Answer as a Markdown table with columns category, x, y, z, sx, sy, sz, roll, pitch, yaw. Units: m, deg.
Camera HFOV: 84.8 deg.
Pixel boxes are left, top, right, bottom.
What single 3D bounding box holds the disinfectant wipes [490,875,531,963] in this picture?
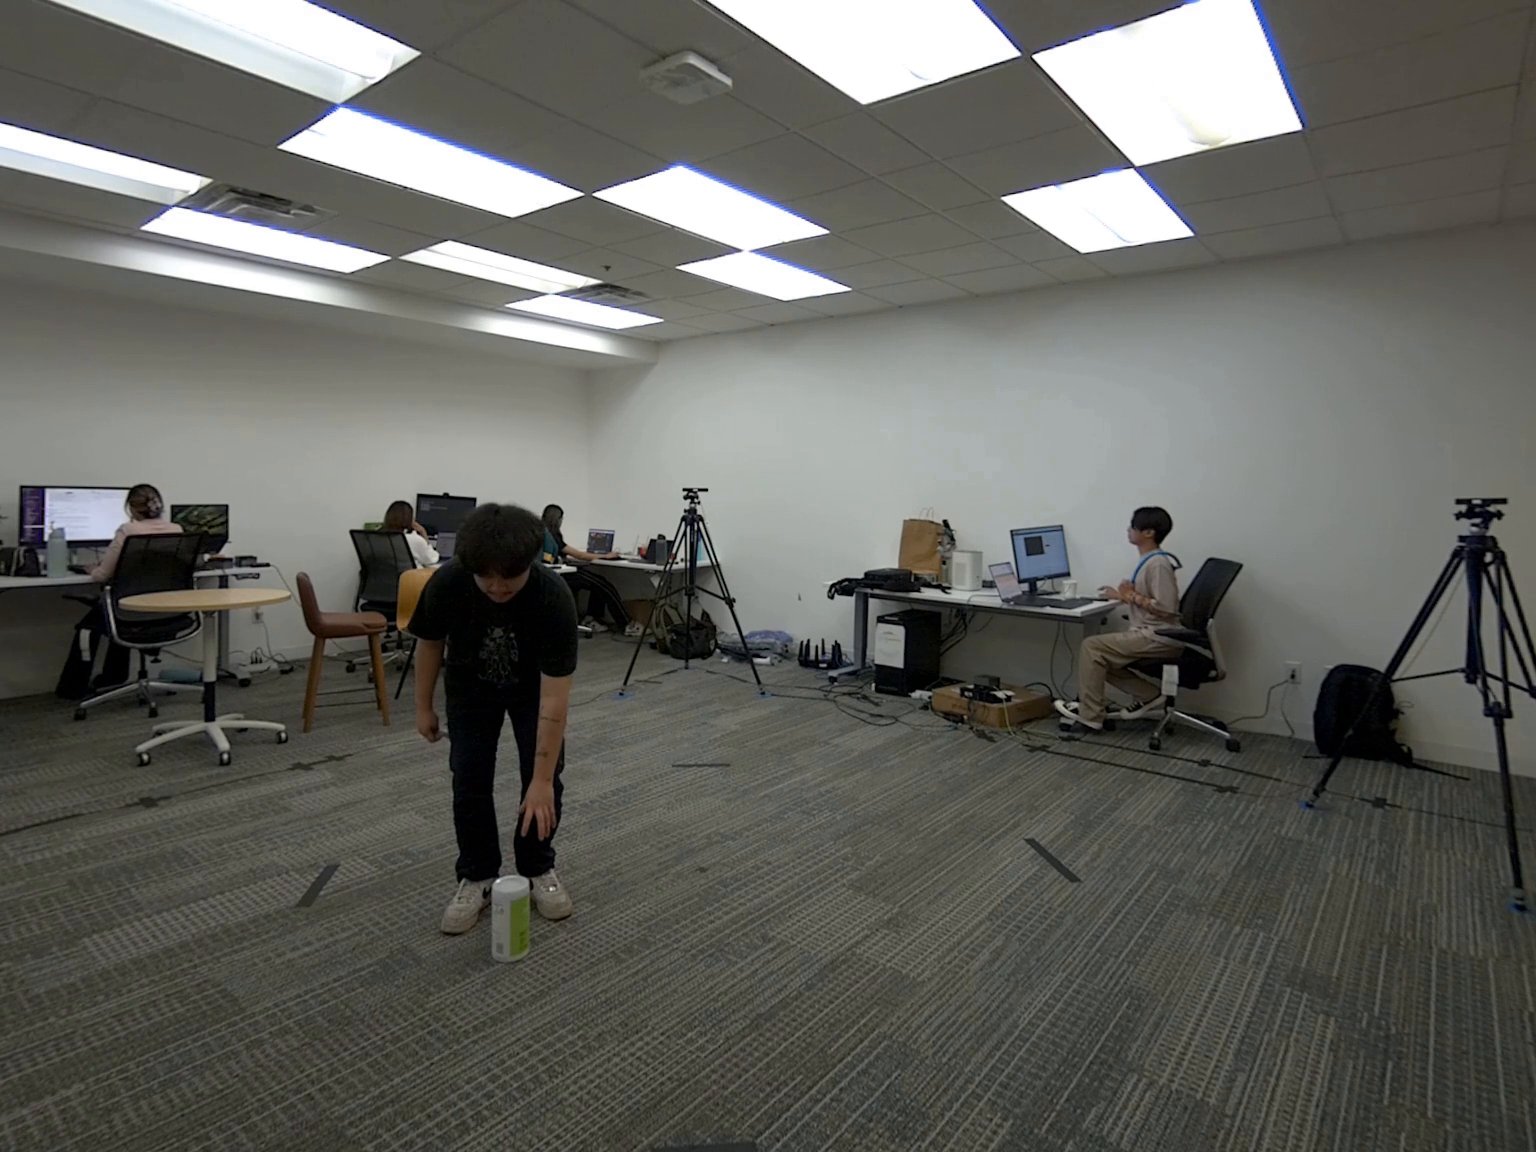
| category | x | y | z | sx | sy | sz | roll | pitch | yaw |
| --- | --- | --- | --- | --- | --- | --- | --- | --- | --- |
| disinfectant wipes | -0.779 | 1.016 | 2.531 | 0.118 | 0.217 | 0.118 | -1 | 4 | -2 |
